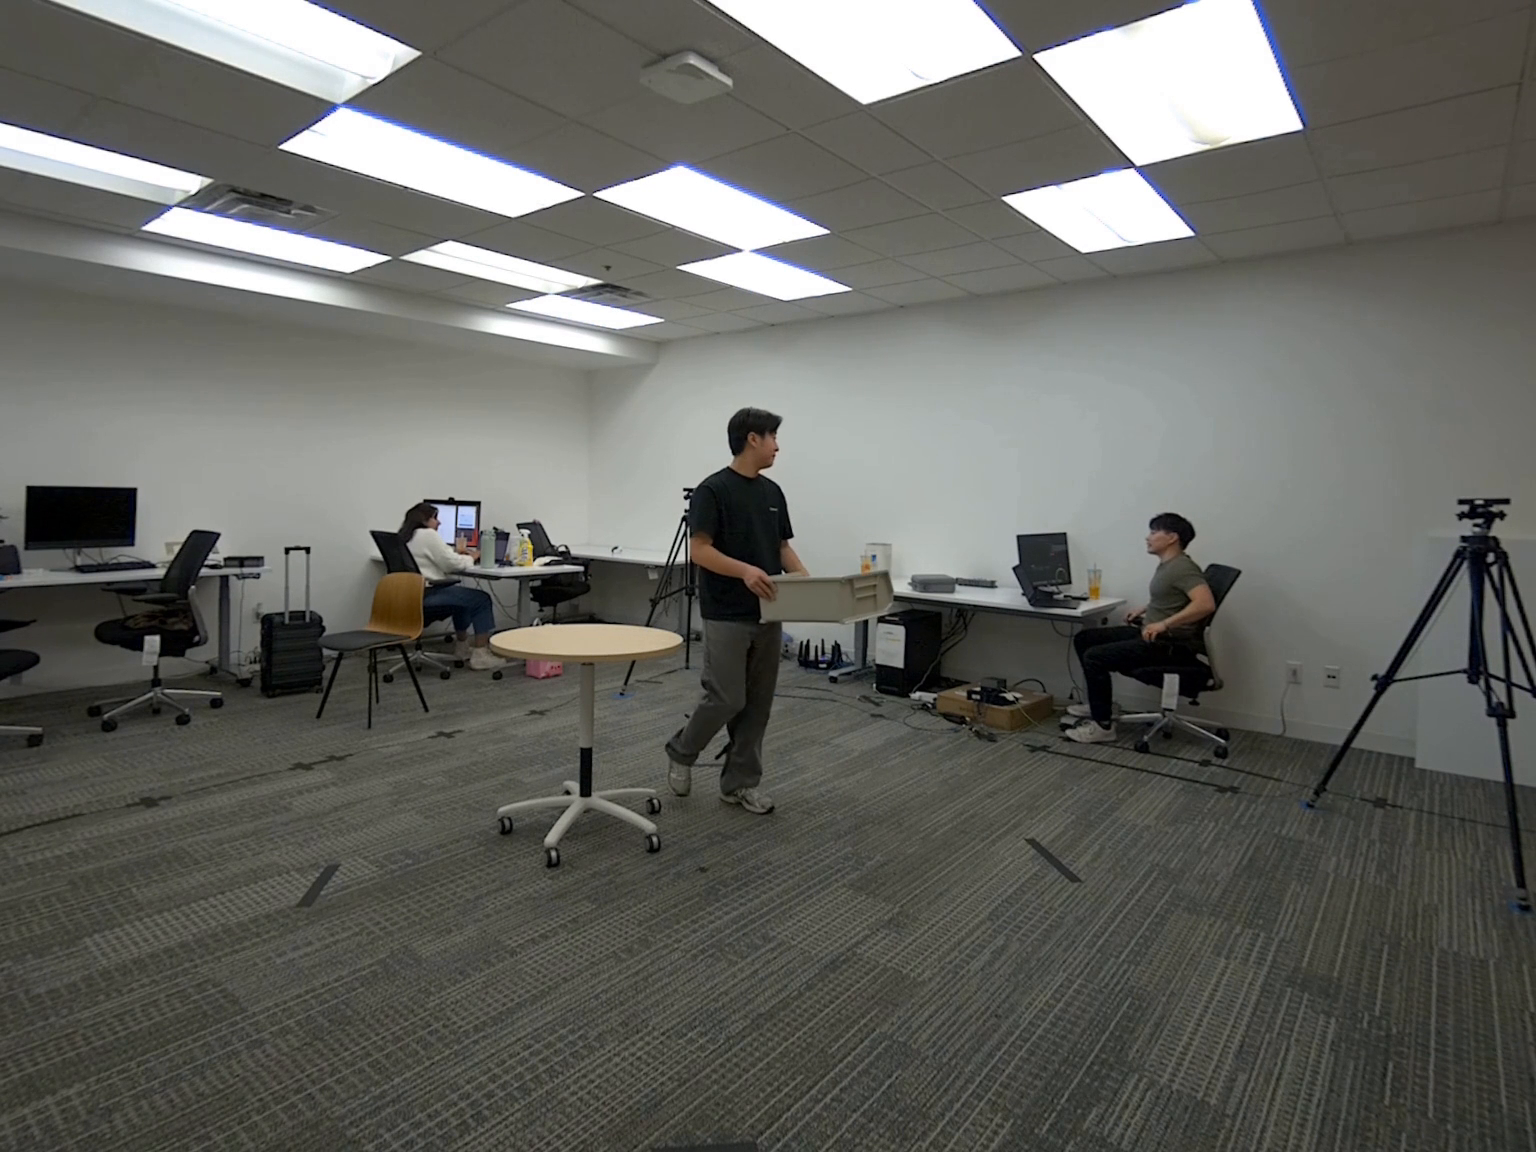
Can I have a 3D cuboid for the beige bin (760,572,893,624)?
[{"bbox_3d":[0.213,0.081,3.408,0.435,0.188,0.367,0,6,40],"label":"beige bin"}]
